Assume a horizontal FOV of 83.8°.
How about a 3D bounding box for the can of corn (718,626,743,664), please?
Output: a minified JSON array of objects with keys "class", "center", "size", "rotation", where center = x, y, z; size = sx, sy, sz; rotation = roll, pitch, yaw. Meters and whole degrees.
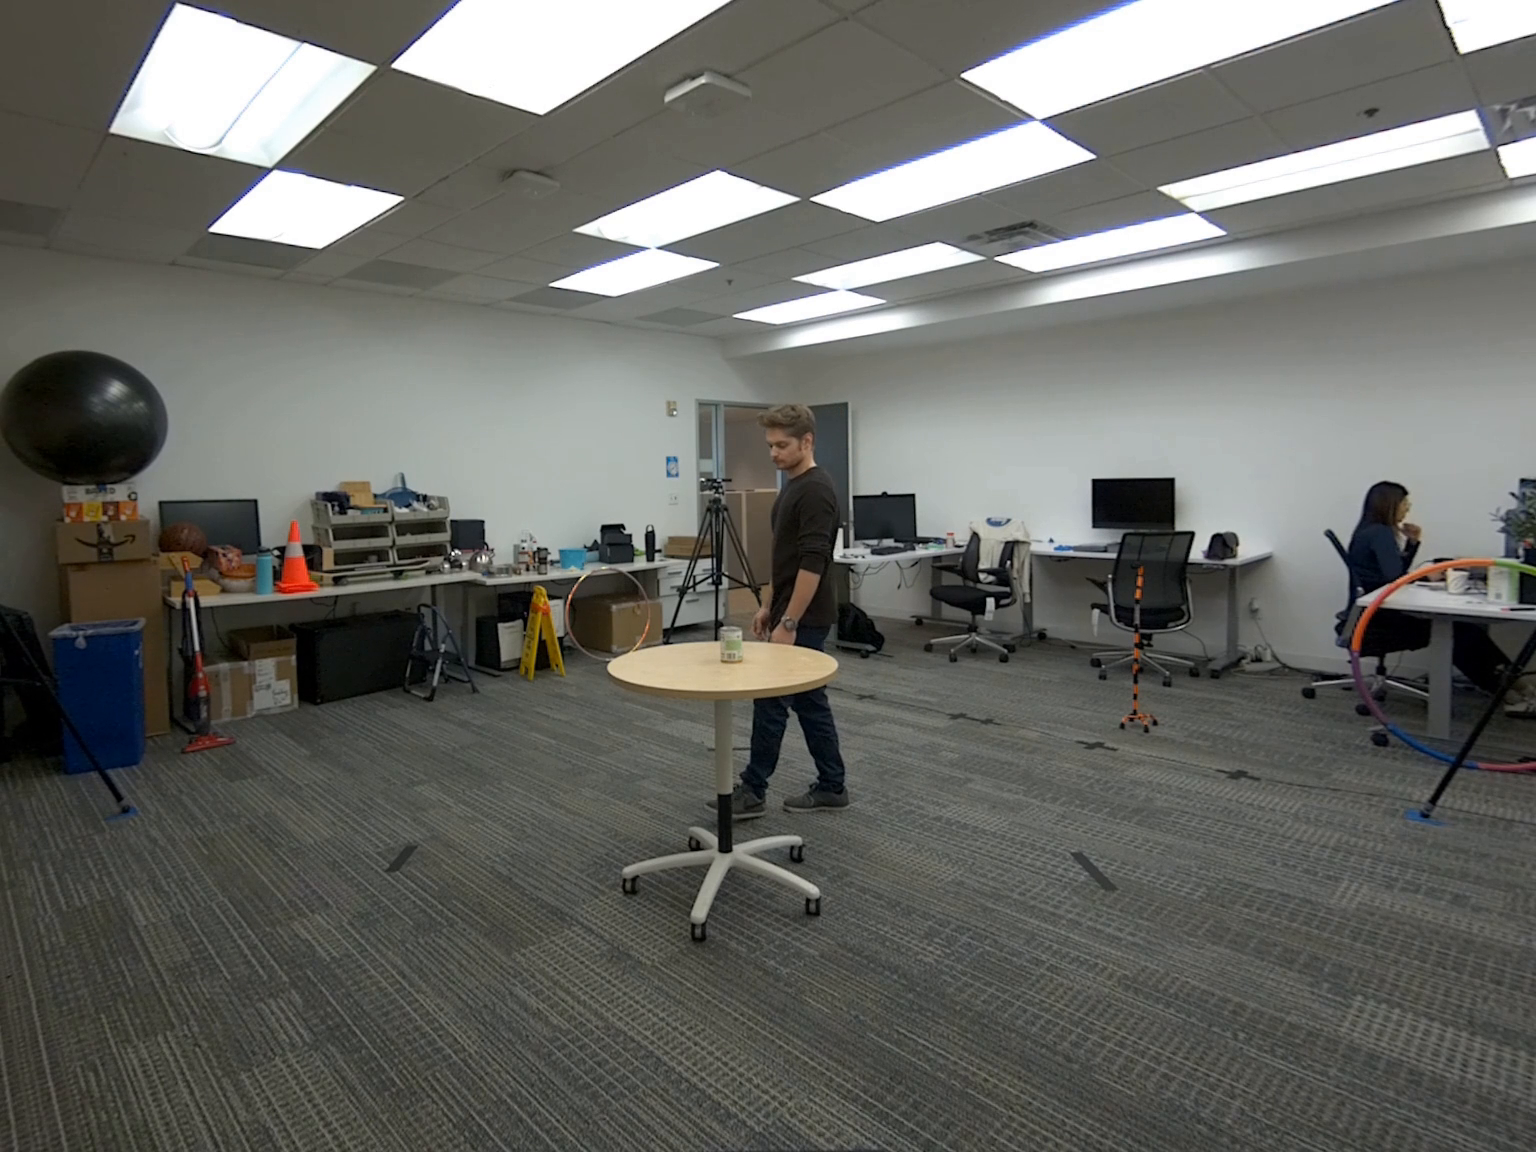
[{"class":"can of corn","center":[-0.121,0.230,2.871],"size":[0.074,0.111,0.074],"rotation":[-2,3,-2]}]
